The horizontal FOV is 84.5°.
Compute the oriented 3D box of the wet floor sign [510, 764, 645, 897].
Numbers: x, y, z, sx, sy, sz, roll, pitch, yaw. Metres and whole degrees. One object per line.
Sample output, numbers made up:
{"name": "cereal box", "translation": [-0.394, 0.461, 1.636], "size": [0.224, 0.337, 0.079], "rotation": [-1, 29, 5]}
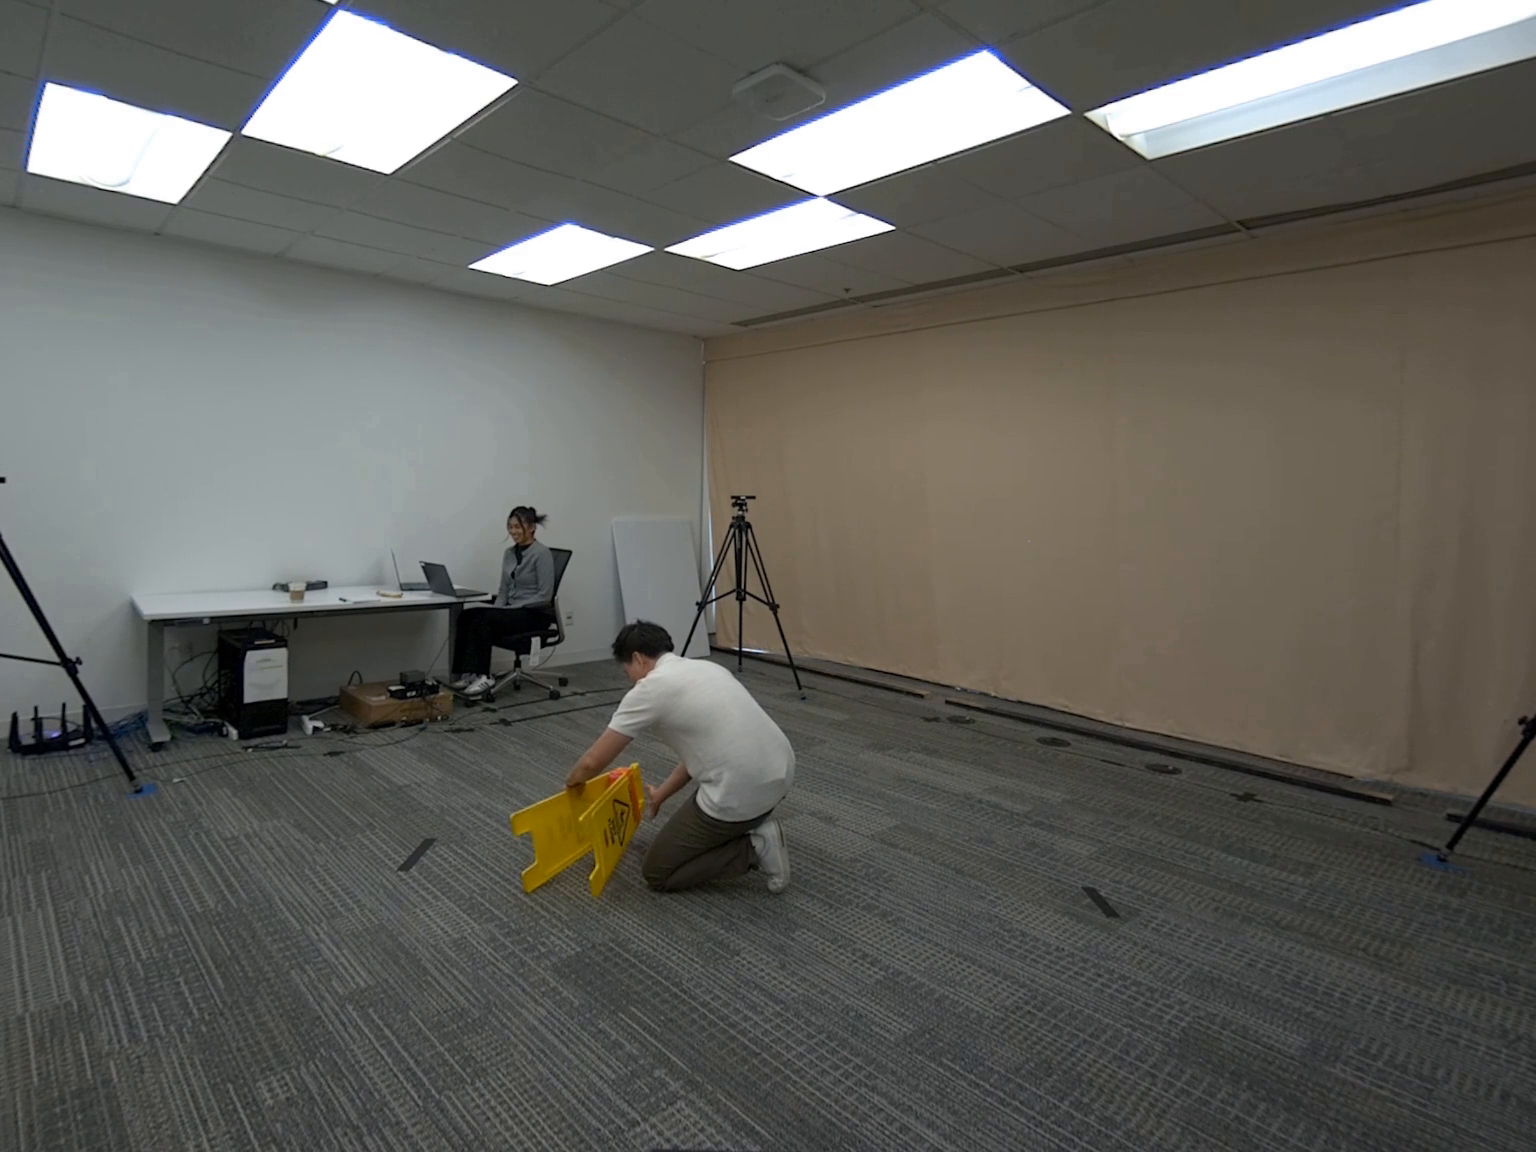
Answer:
{"name": "wet floor sign", "translation": [-0.624, 0.903, 3.152], "size": [0.294, 0.281, 0.639], "rotation": [-7, 6, 22]}
